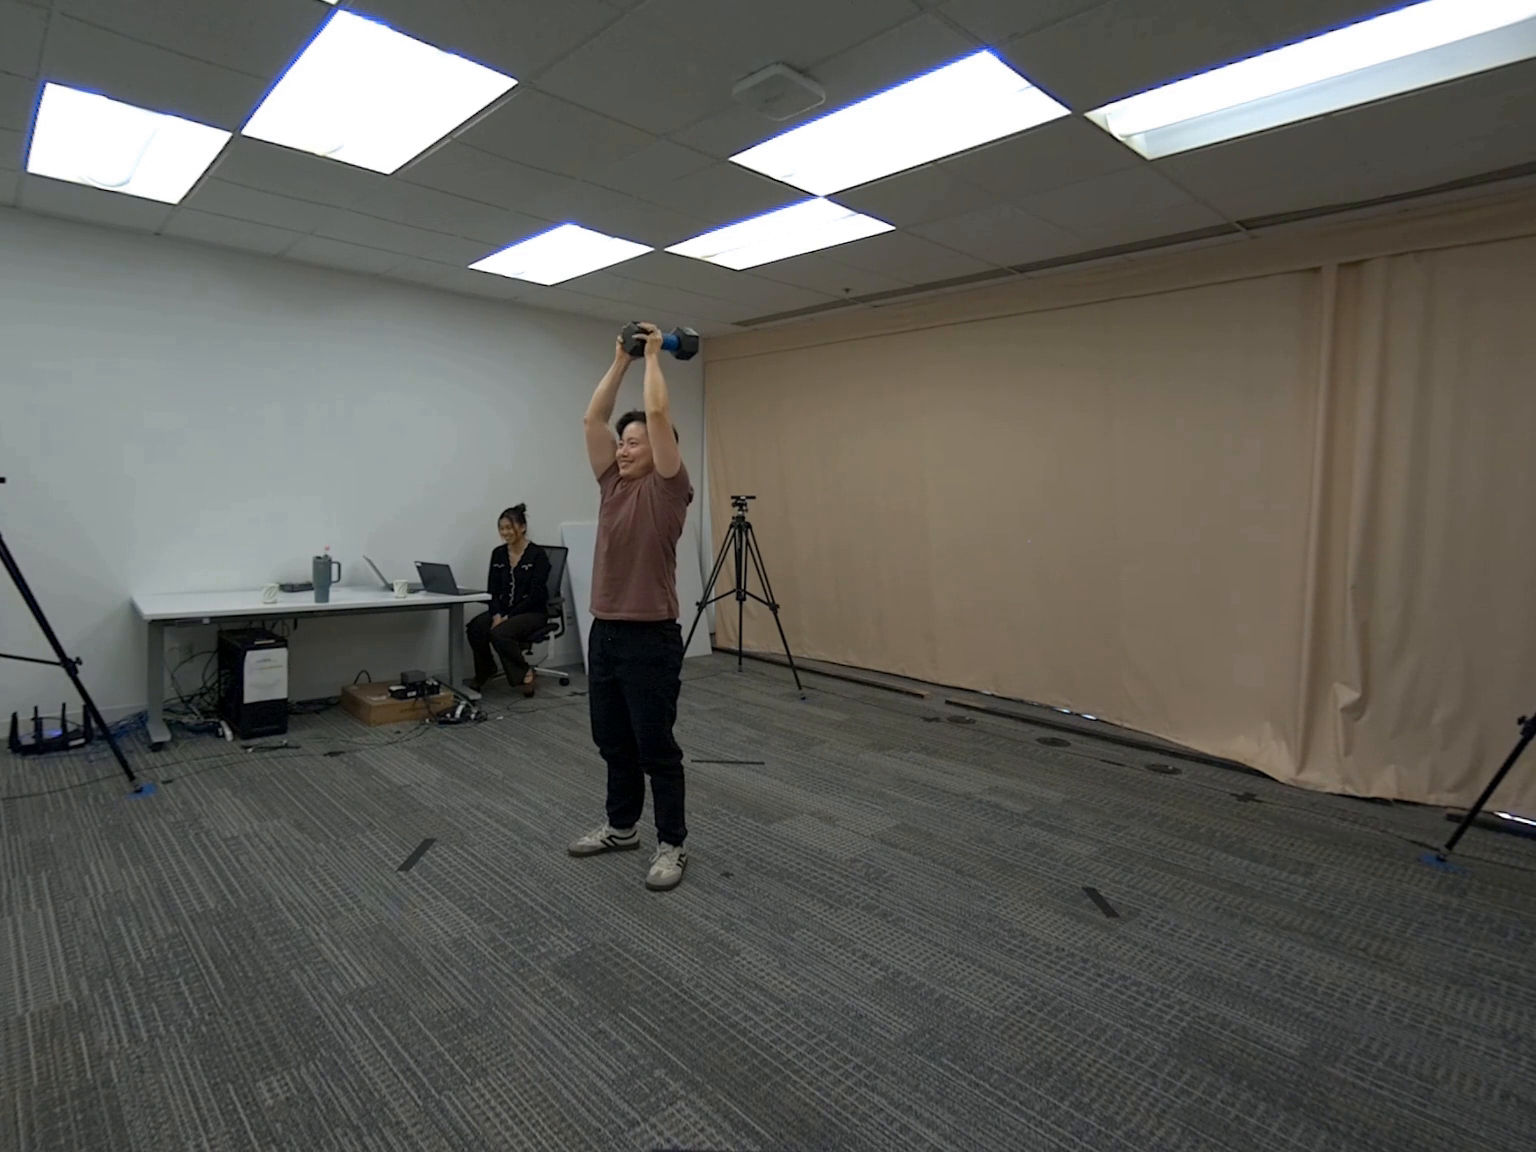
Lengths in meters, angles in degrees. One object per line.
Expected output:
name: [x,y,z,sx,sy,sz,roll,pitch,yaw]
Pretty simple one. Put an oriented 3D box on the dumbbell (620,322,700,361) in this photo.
dumbbell: [-0.406,-0.862,3.109,0.287,0.122,0.112,-8,13,-42]
